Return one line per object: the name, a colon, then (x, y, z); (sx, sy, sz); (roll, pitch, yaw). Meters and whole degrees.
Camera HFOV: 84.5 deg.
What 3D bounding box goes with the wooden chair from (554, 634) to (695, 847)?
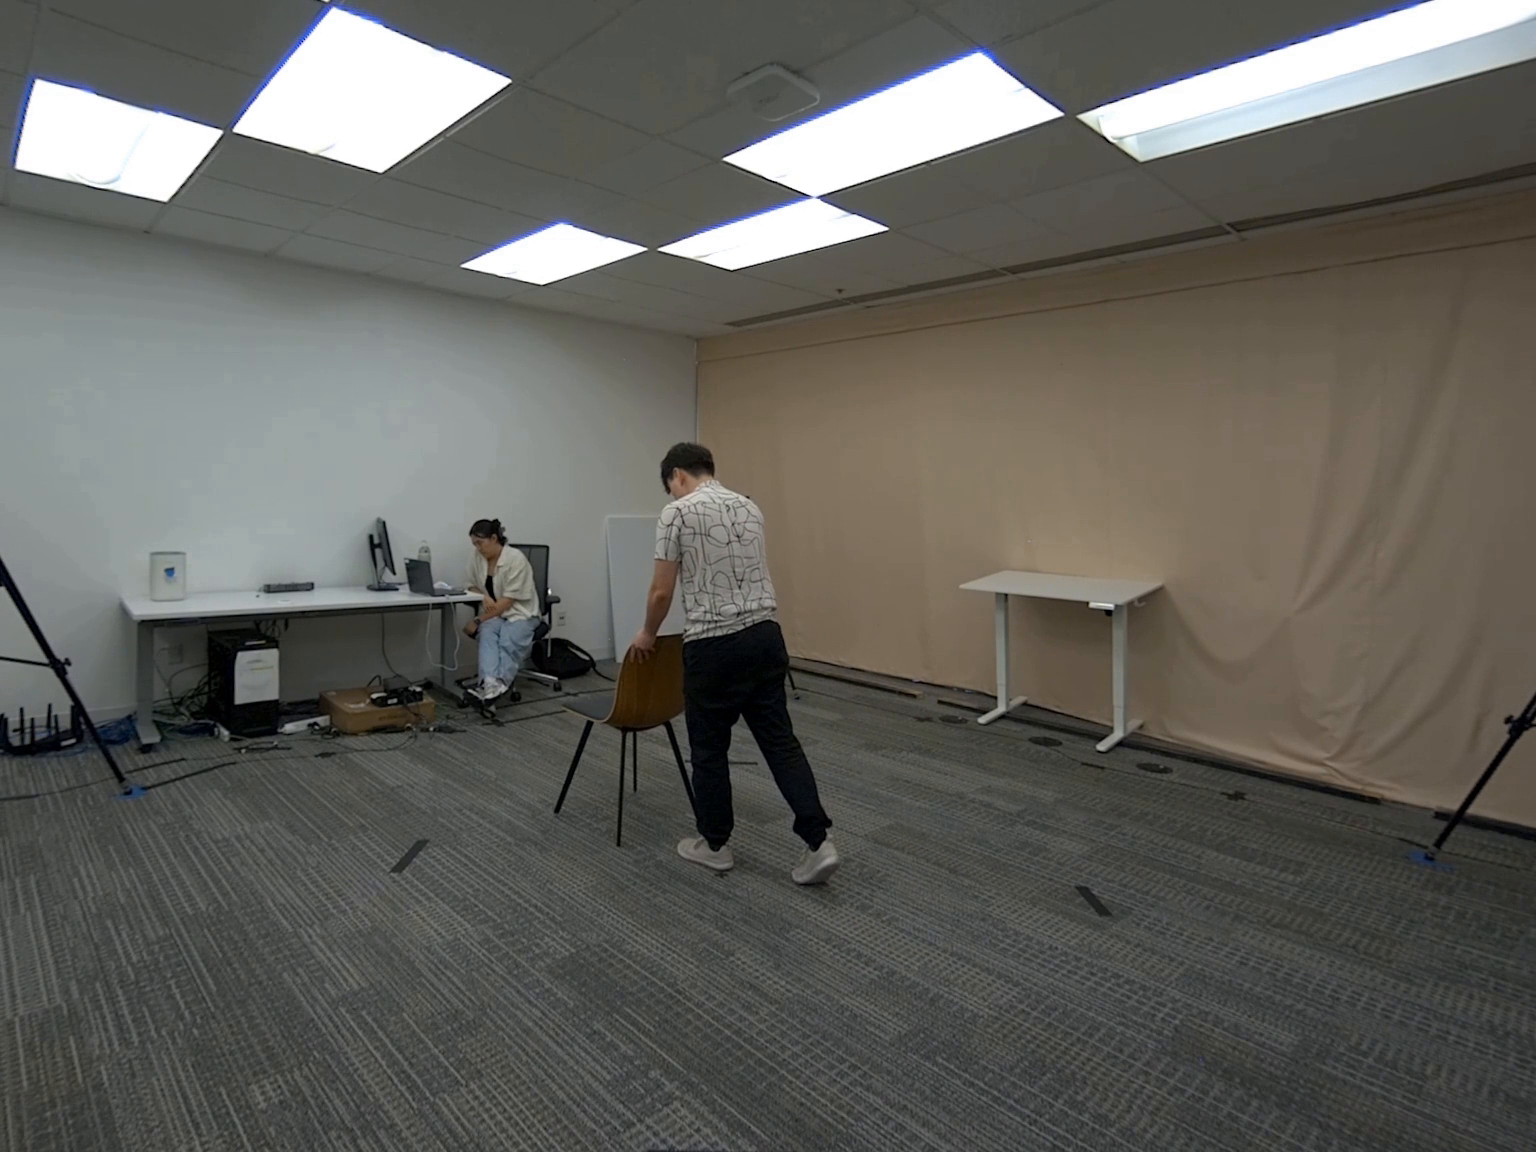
wooden chair: (-0.603, 0.616, 3.615); (0.538, 0.873, 0.467); (13, 10, 43)
